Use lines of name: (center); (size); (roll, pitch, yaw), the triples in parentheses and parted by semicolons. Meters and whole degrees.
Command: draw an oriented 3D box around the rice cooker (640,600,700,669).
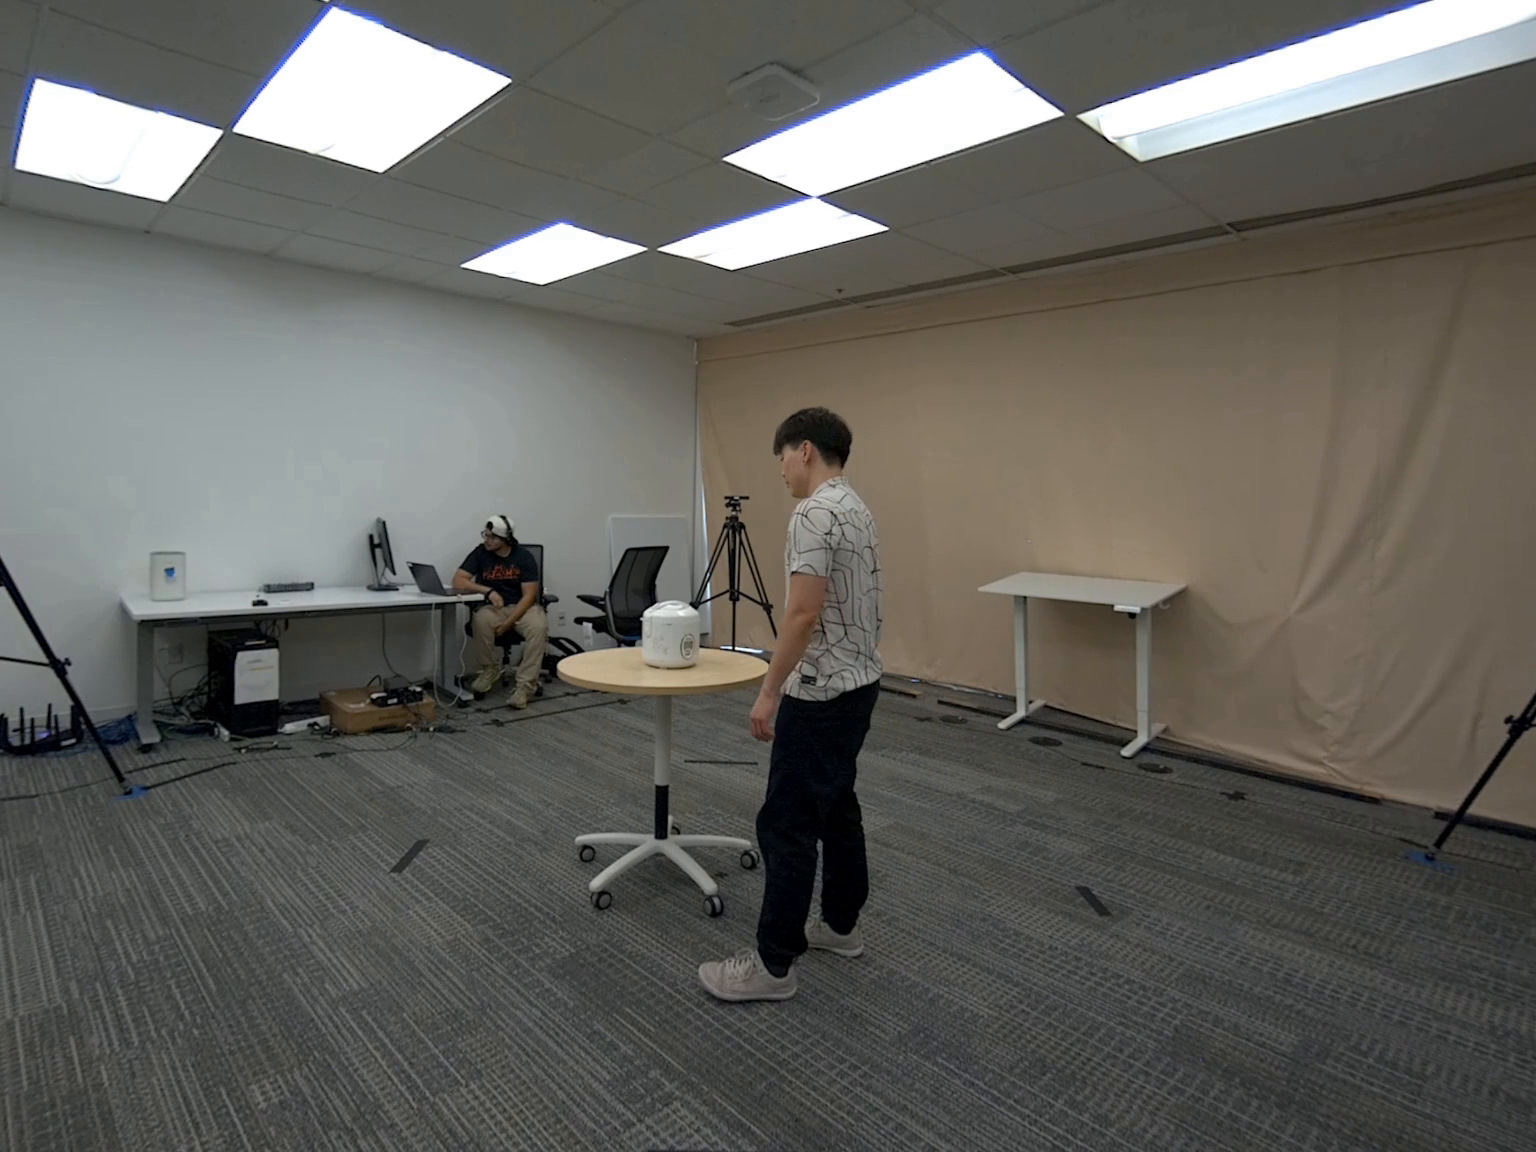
rice cooker: (-0.354, 0.205, 3.045); (0.215, 0.232, 0.223); (0, 3, -40)
